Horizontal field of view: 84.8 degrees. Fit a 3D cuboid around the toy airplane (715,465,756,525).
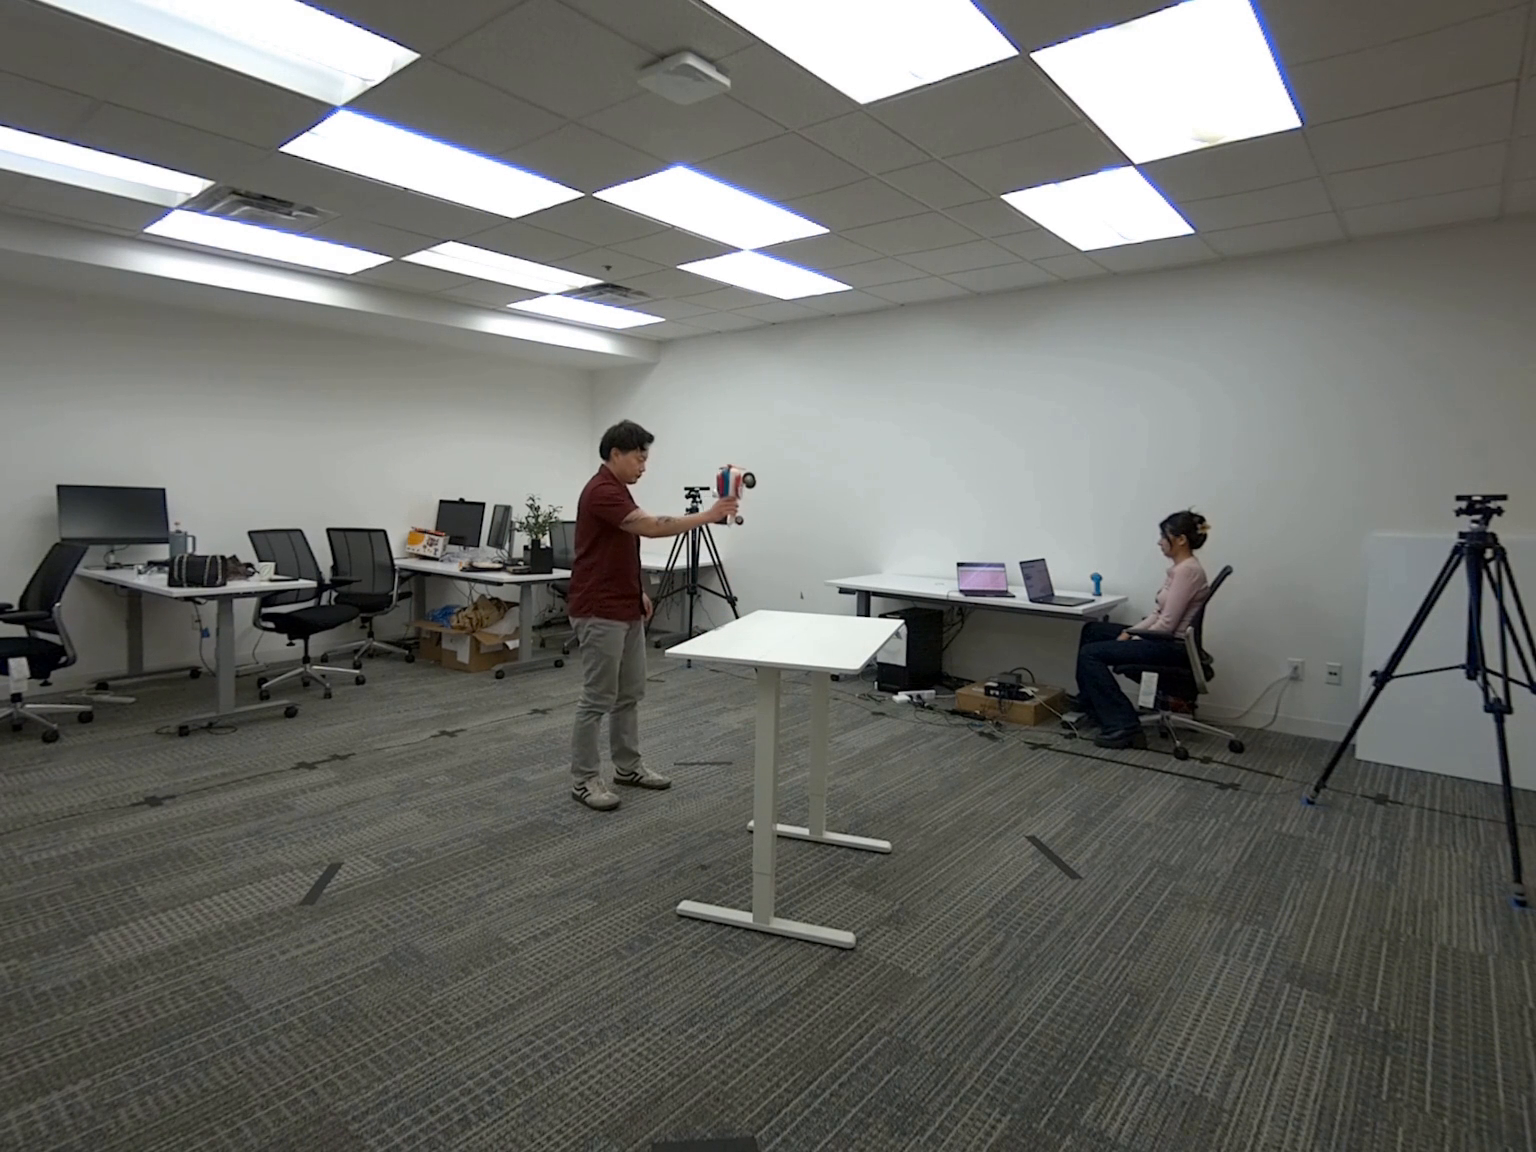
[{"bbox_3d":[-0.164,-0.343,3.582,0.157,0.263,0.246,17,-32,2],"label":"toy airplane"}]
